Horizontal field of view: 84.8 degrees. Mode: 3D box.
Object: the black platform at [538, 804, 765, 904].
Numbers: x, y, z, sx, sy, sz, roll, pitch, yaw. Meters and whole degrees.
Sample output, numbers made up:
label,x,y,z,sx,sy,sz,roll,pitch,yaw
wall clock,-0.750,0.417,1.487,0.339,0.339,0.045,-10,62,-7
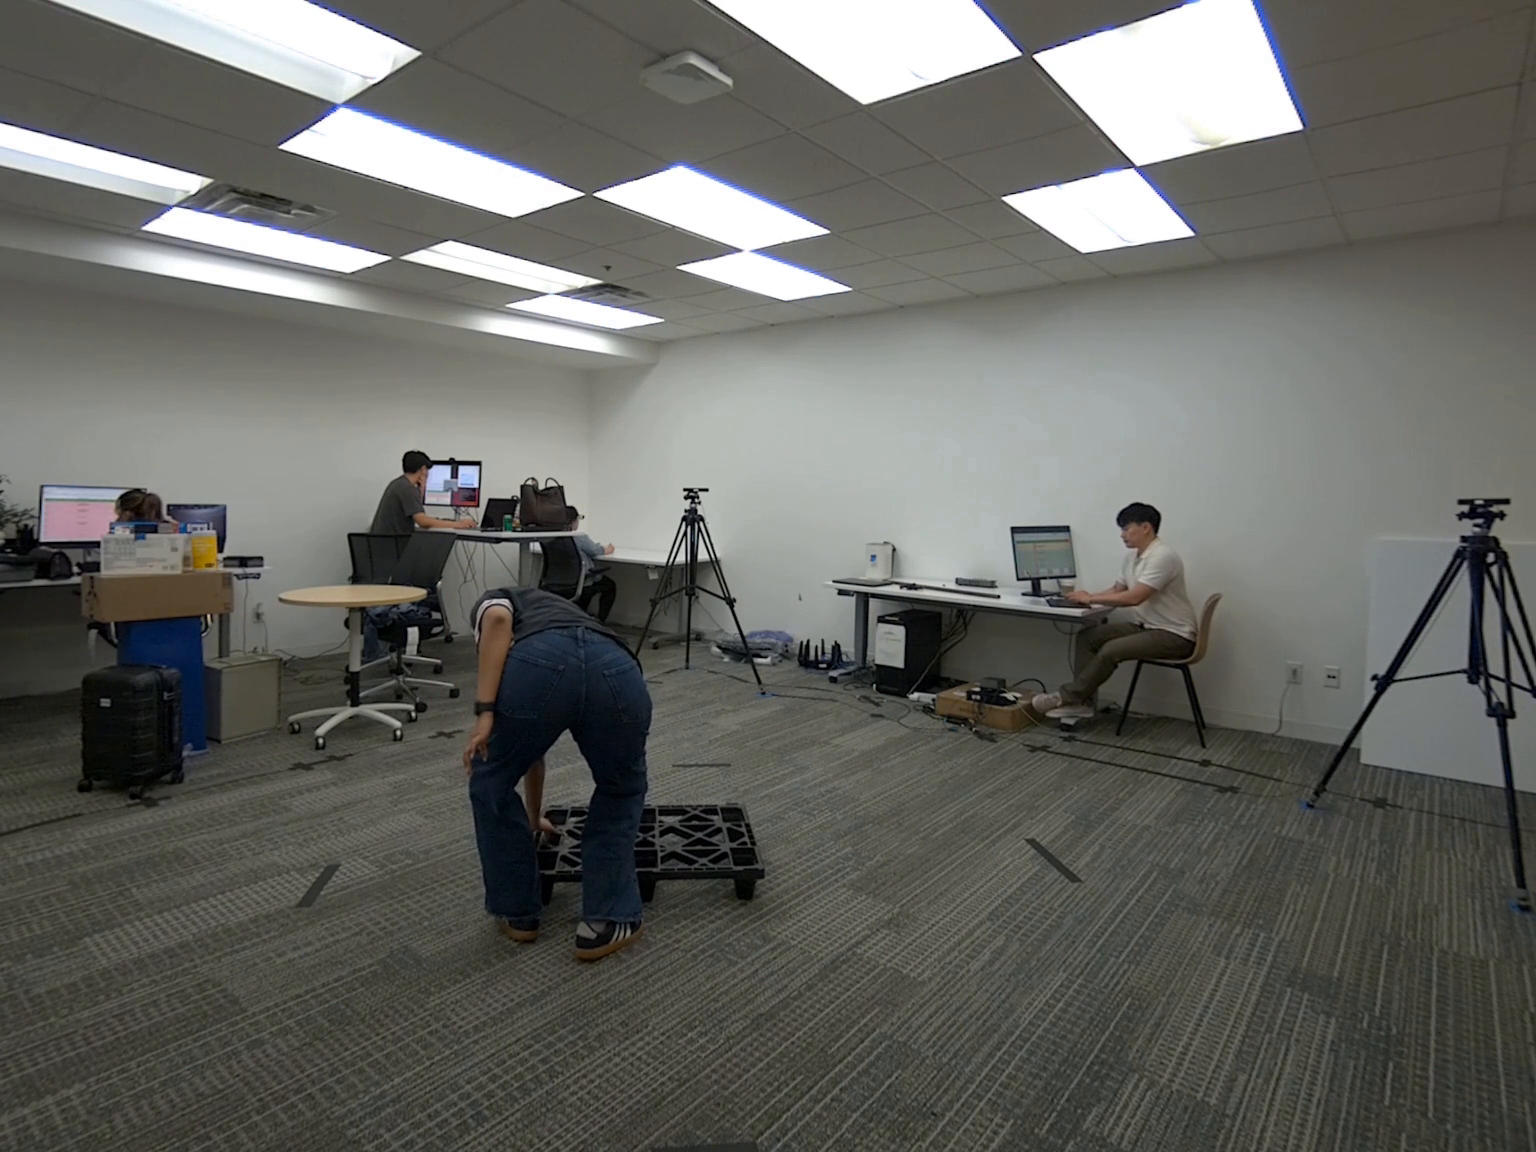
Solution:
label,x,y,z,sx,sy,sz,roll,pitch,yaw
black platform,-0.450,1.000,3.078,0.801,0.143,0.612,0,6,-6
